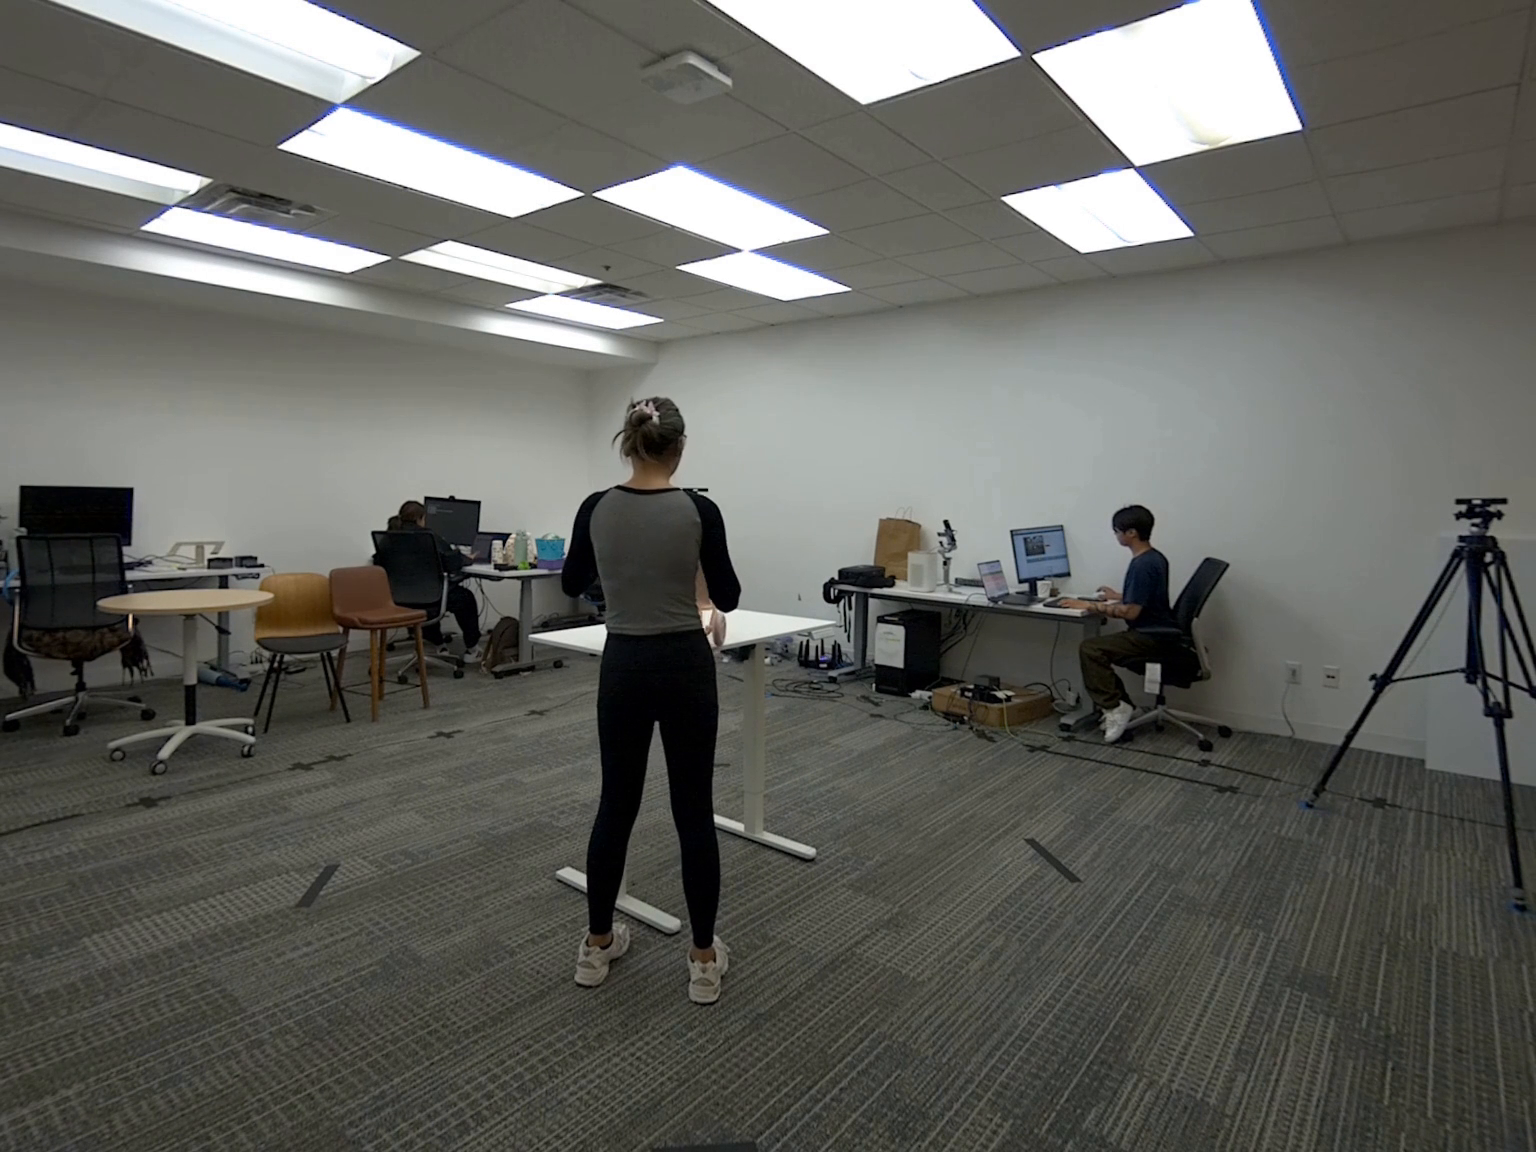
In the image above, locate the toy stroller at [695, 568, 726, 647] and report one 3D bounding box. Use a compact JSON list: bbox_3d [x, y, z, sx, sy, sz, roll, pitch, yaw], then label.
[{"bbox_3d":[-0.277,-0.005,2.794,0.285,0.525,0.343,1,20,11],"label":"toy stroller"}]
